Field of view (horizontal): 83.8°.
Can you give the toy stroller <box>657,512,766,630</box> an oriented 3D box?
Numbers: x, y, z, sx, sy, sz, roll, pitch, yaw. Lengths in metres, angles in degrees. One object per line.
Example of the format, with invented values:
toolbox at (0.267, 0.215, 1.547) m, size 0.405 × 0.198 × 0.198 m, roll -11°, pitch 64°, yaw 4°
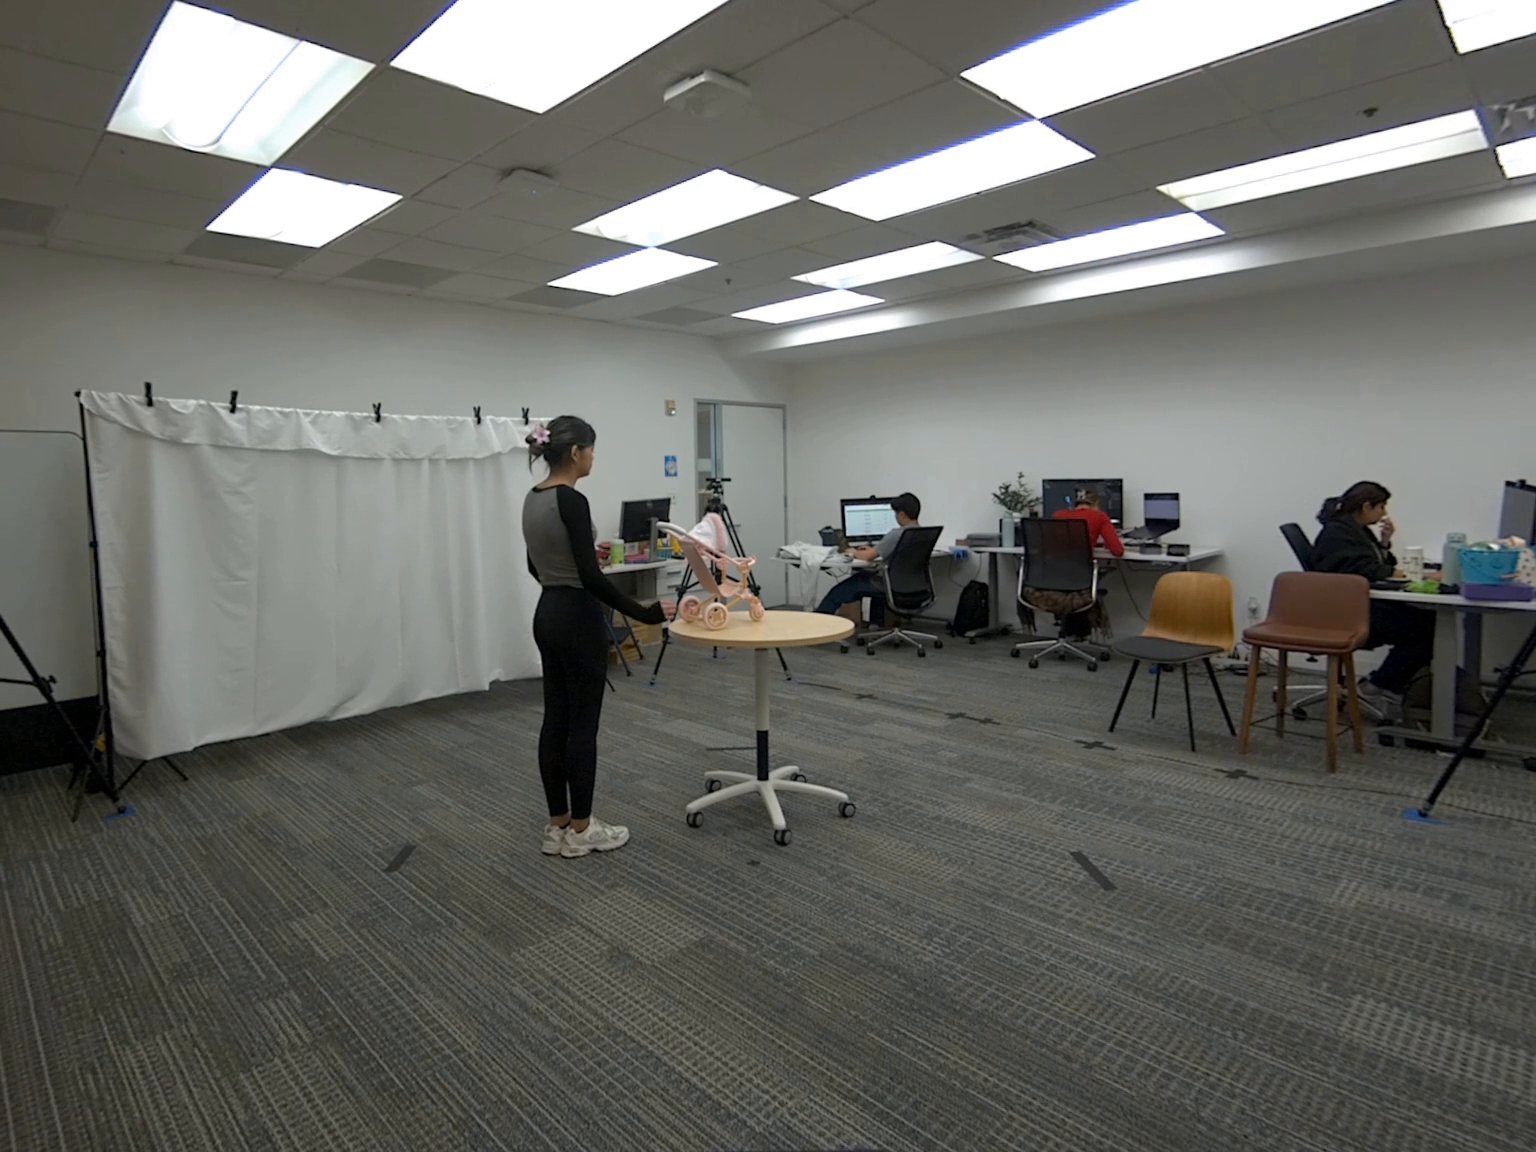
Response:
toy stroller at (-0.223, -0.021, 3.525) m, size 0.337 × 0.529 × 0.288 m, roll -20°, pitch 11°, yaw -22°
